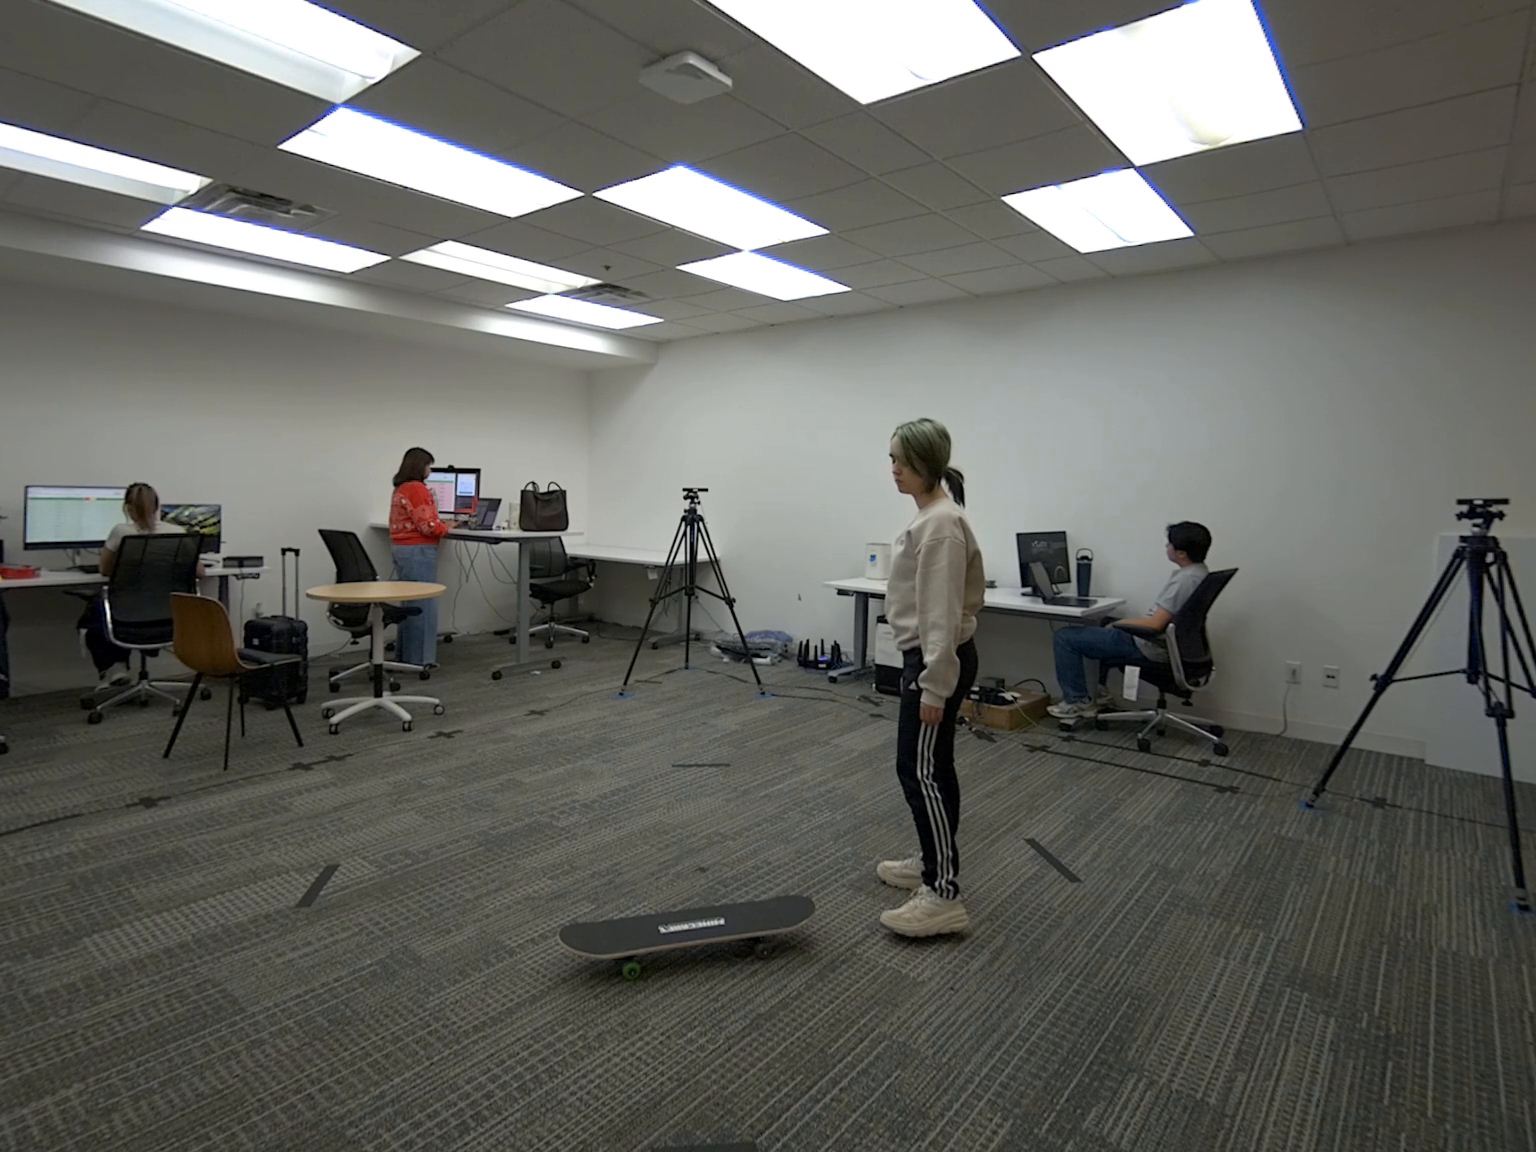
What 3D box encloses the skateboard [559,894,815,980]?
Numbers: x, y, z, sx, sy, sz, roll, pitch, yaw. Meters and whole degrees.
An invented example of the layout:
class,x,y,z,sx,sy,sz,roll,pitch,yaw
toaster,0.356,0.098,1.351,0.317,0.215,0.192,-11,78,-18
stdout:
class,x,y,z,sx,sy,sz,roll,pitch,yaw
skateboard,-0.234,1.072,2.532,0.771,0.110,0.197,-1,4,-18
